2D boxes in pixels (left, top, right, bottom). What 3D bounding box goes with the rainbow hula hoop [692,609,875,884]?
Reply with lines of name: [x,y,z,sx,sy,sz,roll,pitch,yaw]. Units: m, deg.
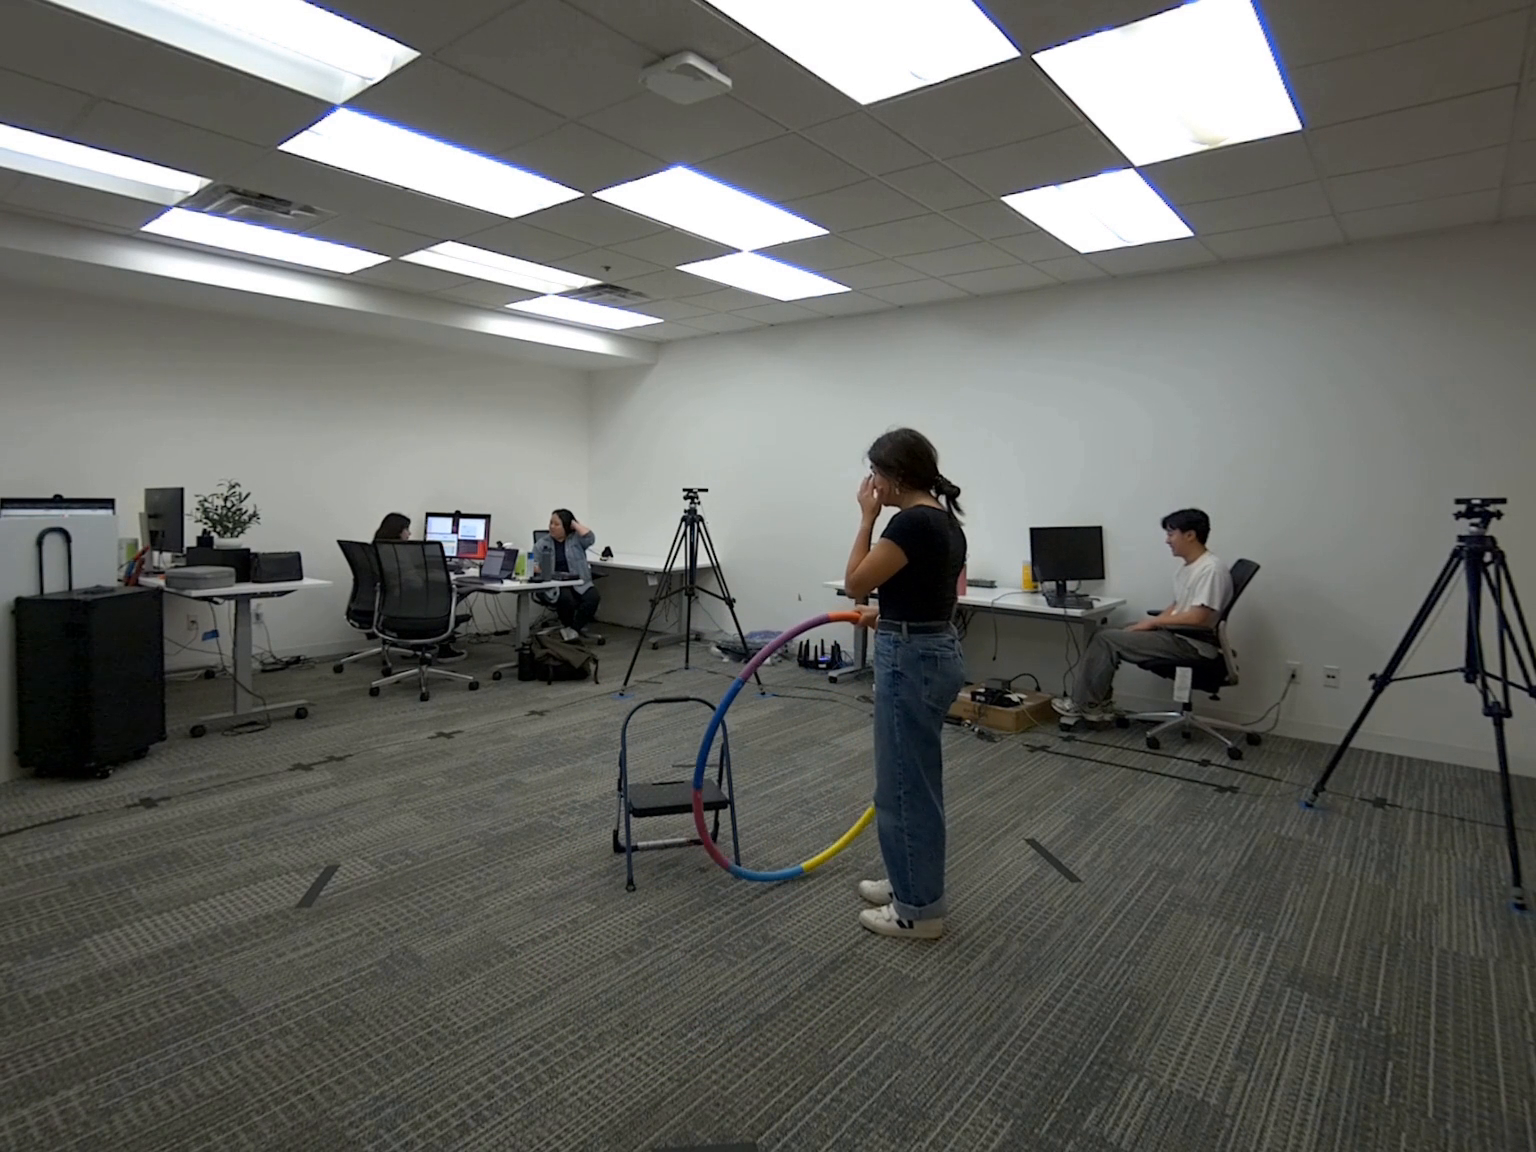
rainbow hula hoop: [0.146,0.591,2.935,0.950,0.968,0.037,-2,17,-35]
